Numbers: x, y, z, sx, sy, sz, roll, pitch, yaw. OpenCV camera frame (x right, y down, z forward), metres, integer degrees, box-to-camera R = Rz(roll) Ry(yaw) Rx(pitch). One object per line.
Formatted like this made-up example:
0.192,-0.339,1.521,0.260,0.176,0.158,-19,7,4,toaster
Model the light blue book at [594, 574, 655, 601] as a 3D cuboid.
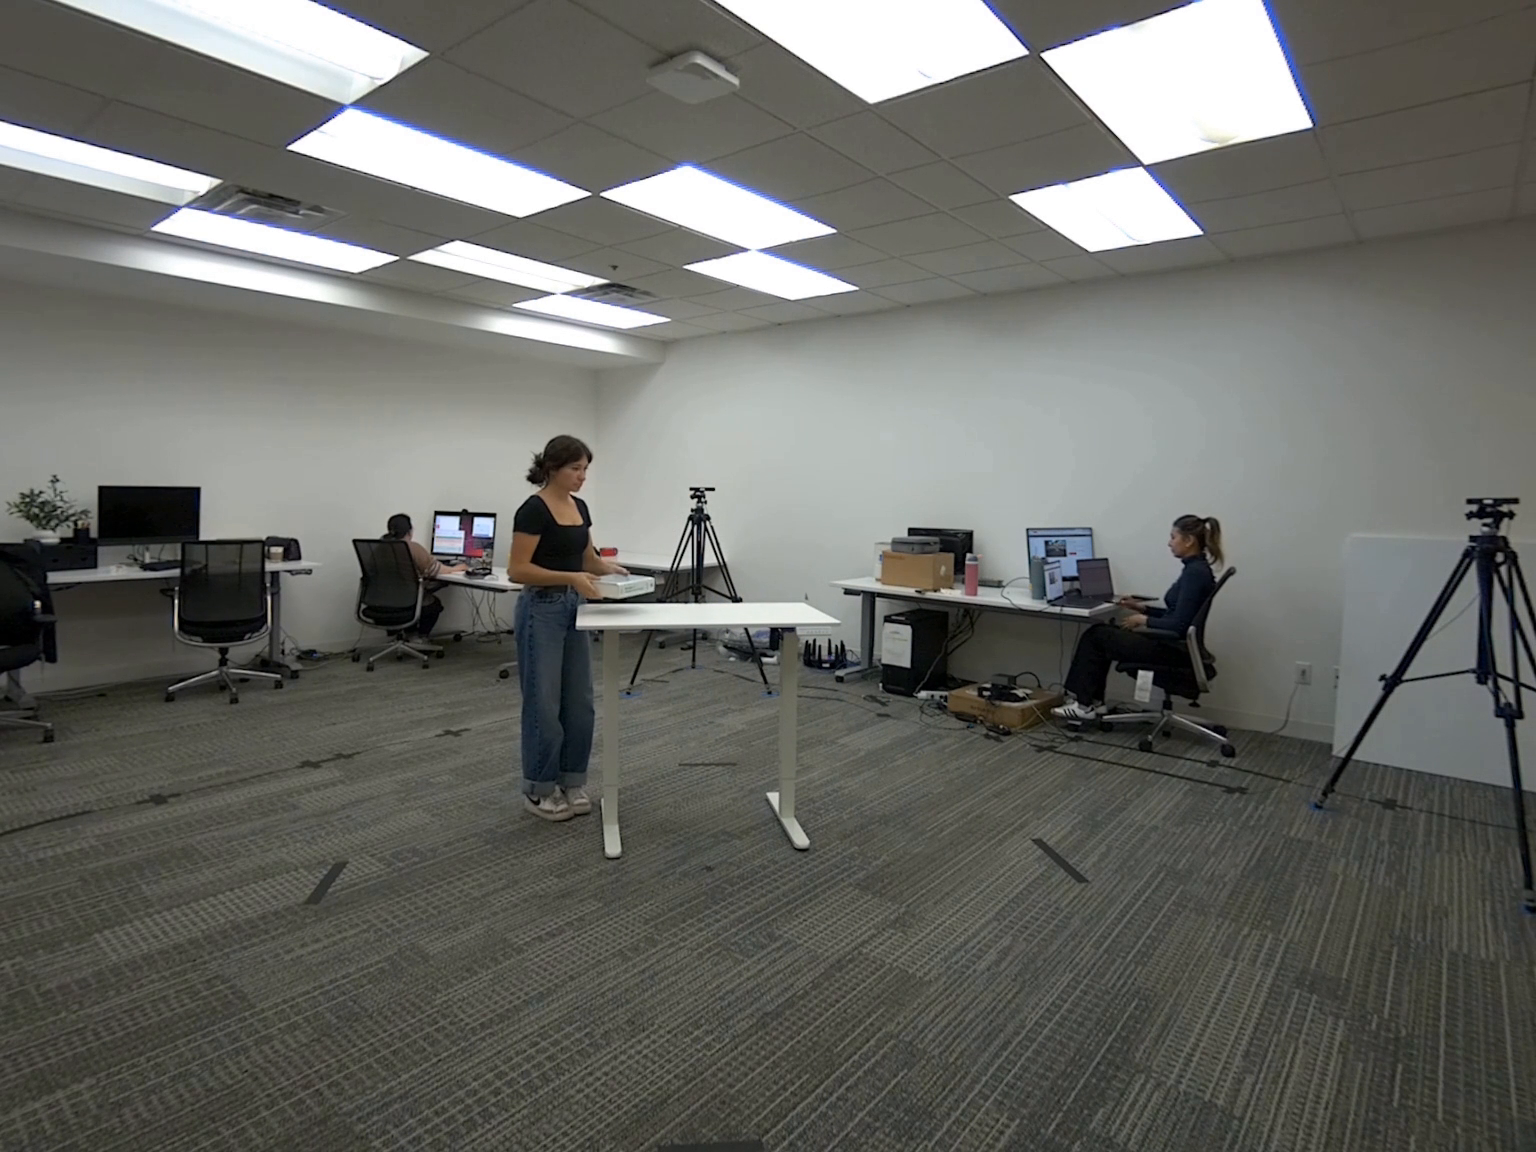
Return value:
-0.631,0.032,3.483,0.196,0.059,0.256,4,8,23,light blue book
